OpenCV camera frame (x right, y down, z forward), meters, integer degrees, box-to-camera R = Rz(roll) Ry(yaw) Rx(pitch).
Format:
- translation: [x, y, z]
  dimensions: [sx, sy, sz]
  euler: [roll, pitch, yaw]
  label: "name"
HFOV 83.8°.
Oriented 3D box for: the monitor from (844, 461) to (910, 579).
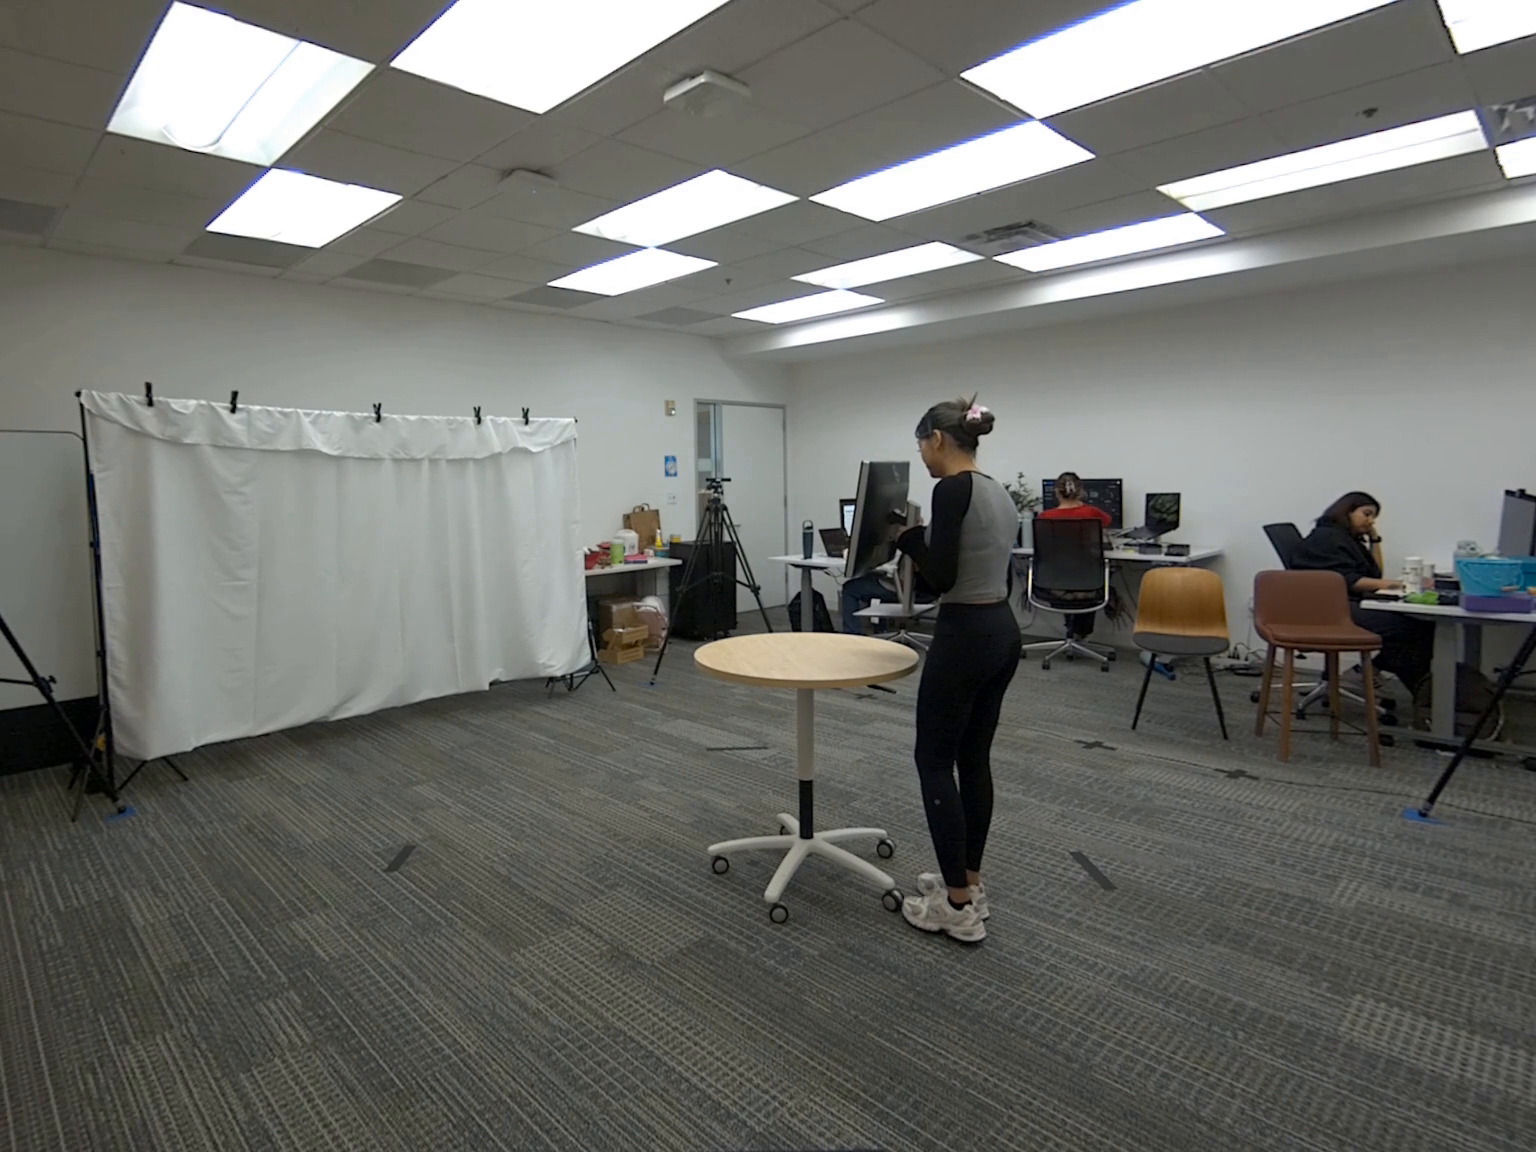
- translation: [0.416, -0.122, 2.822]
  dimensions: [0.191, 0.521, 0.530]
  euler: [-4, 4, 22]
  label: "monitor"
